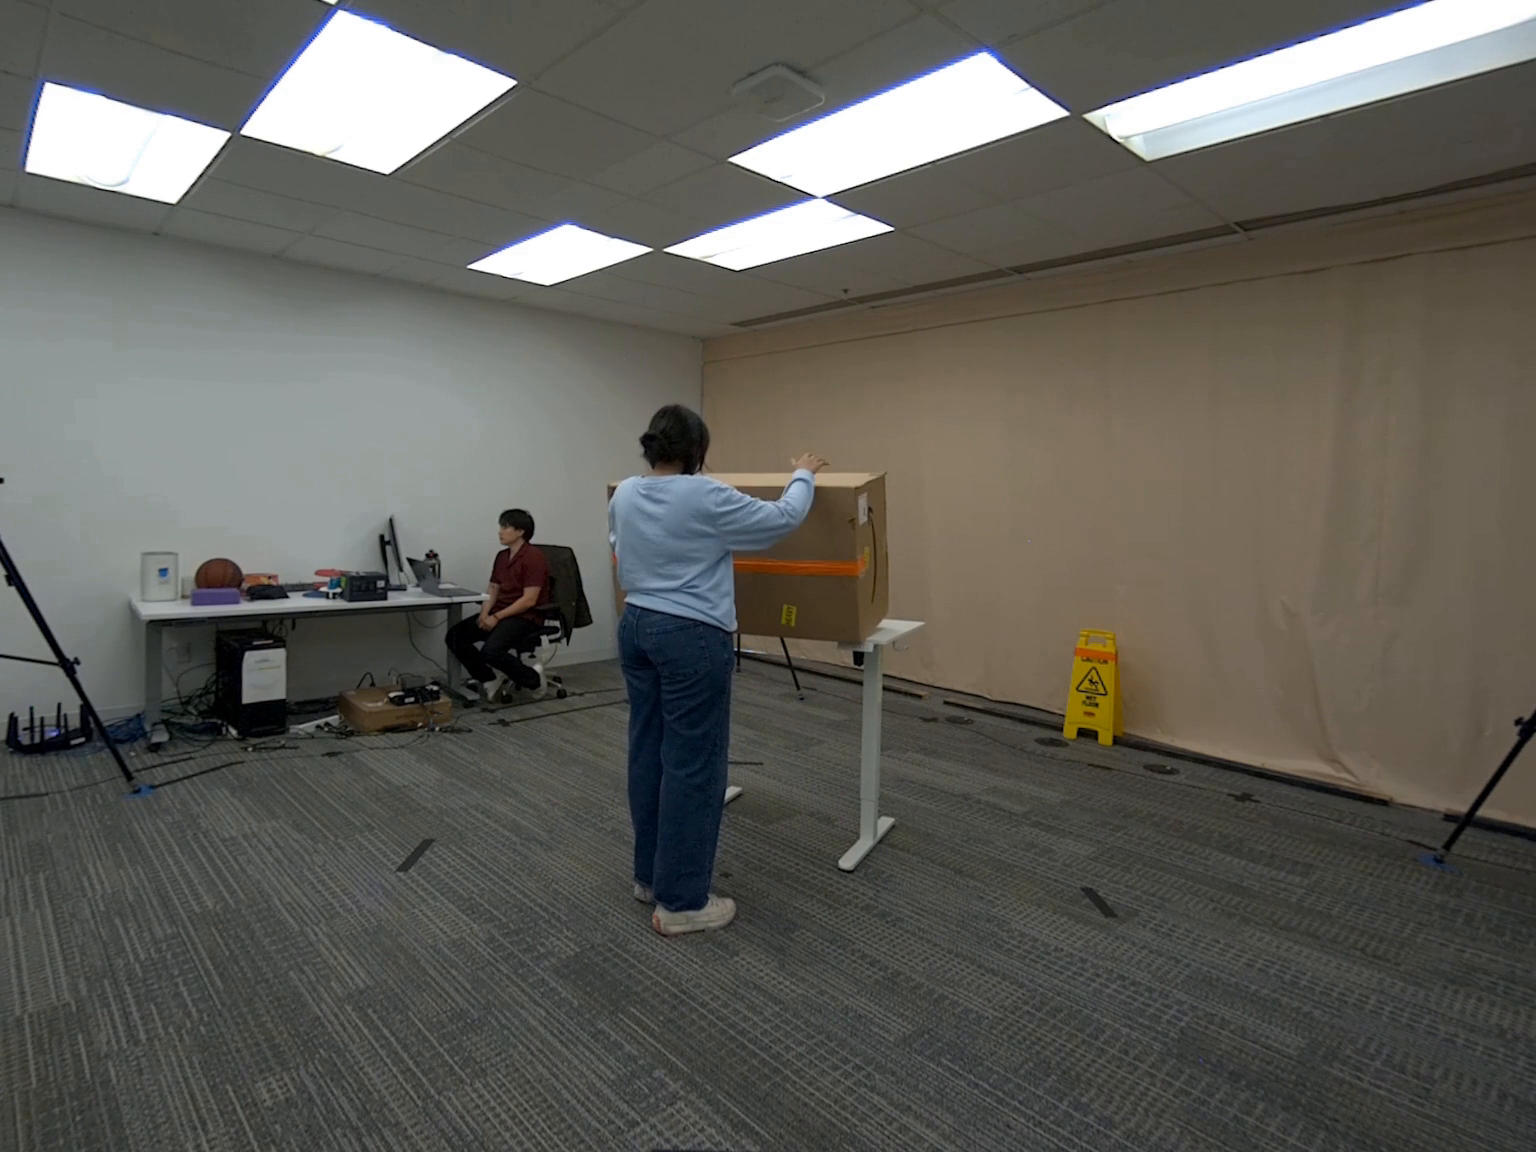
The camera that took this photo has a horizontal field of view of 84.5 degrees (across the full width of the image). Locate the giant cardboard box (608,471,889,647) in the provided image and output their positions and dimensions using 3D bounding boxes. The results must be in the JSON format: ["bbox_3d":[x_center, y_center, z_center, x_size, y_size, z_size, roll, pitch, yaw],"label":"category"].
[{"bbox_3d":[-0.077,-0.103,3.364,1.045,0.572,0.422,3,13,24],"label":"giant cardboard box"}]
